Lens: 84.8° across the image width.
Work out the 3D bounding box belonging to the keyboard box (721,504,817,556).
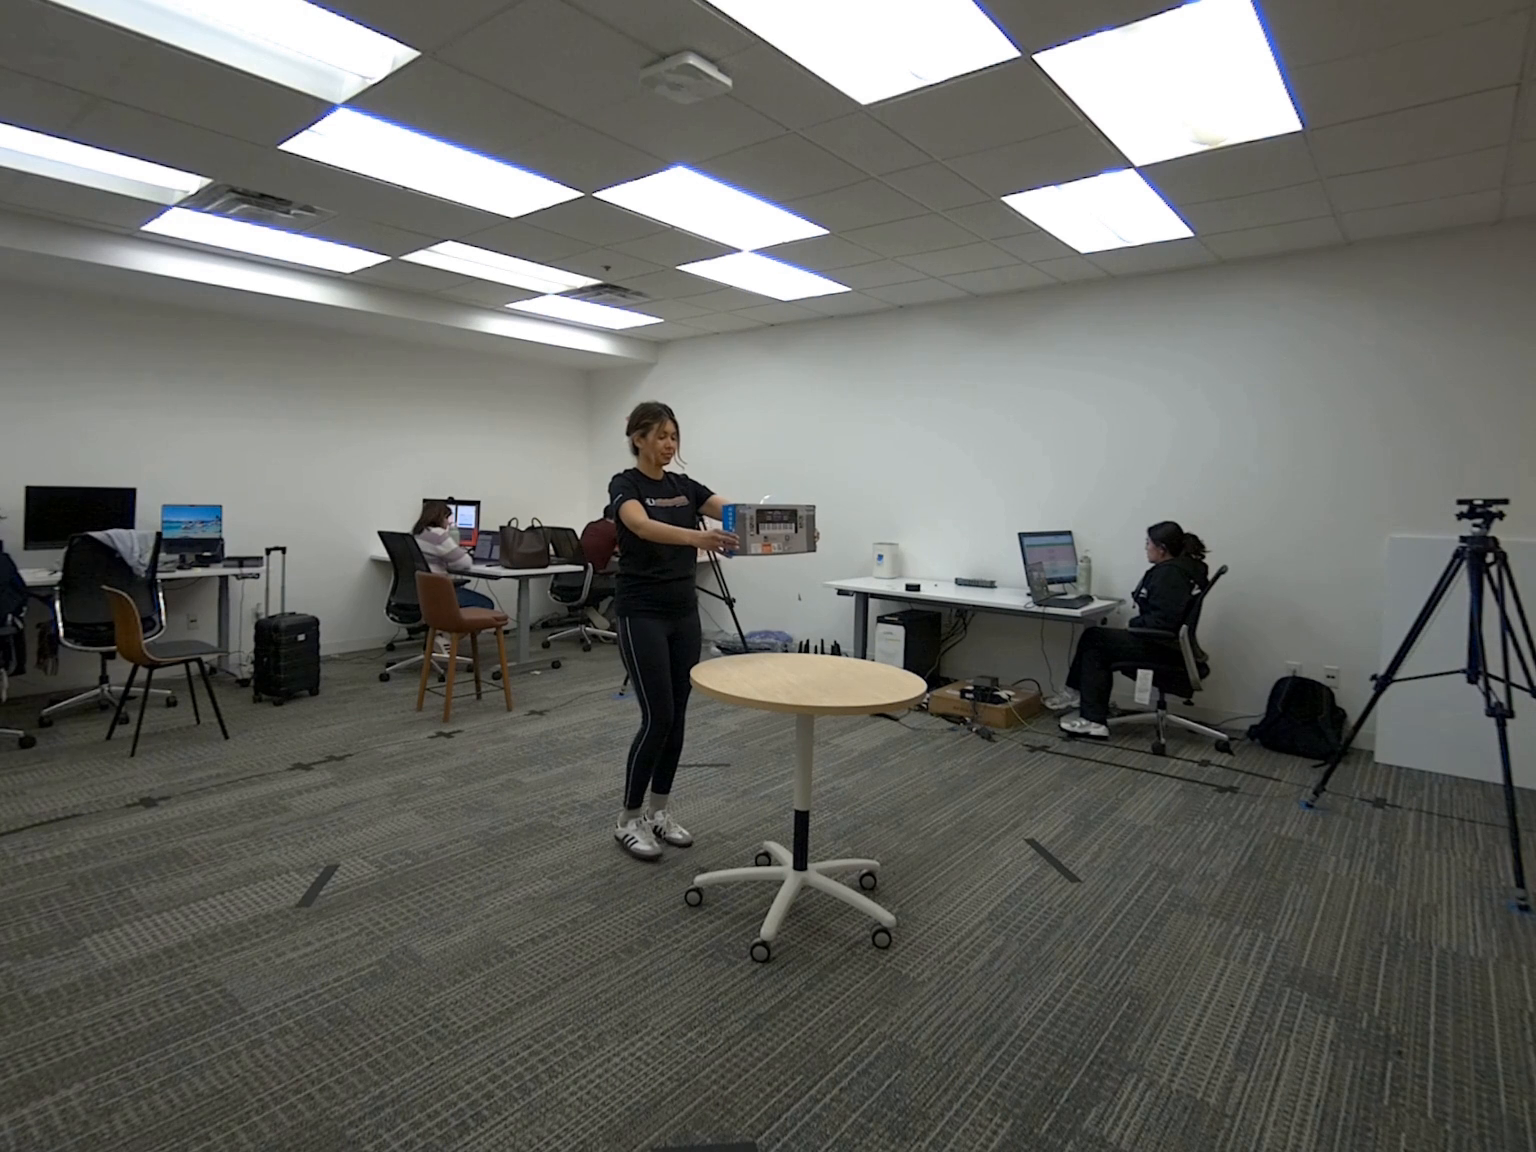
[{"bbox_3d":[-0.001,-0.161,2.943,0.061,0.176,0.424,0,2,42],"label":"keyboard box"}]
